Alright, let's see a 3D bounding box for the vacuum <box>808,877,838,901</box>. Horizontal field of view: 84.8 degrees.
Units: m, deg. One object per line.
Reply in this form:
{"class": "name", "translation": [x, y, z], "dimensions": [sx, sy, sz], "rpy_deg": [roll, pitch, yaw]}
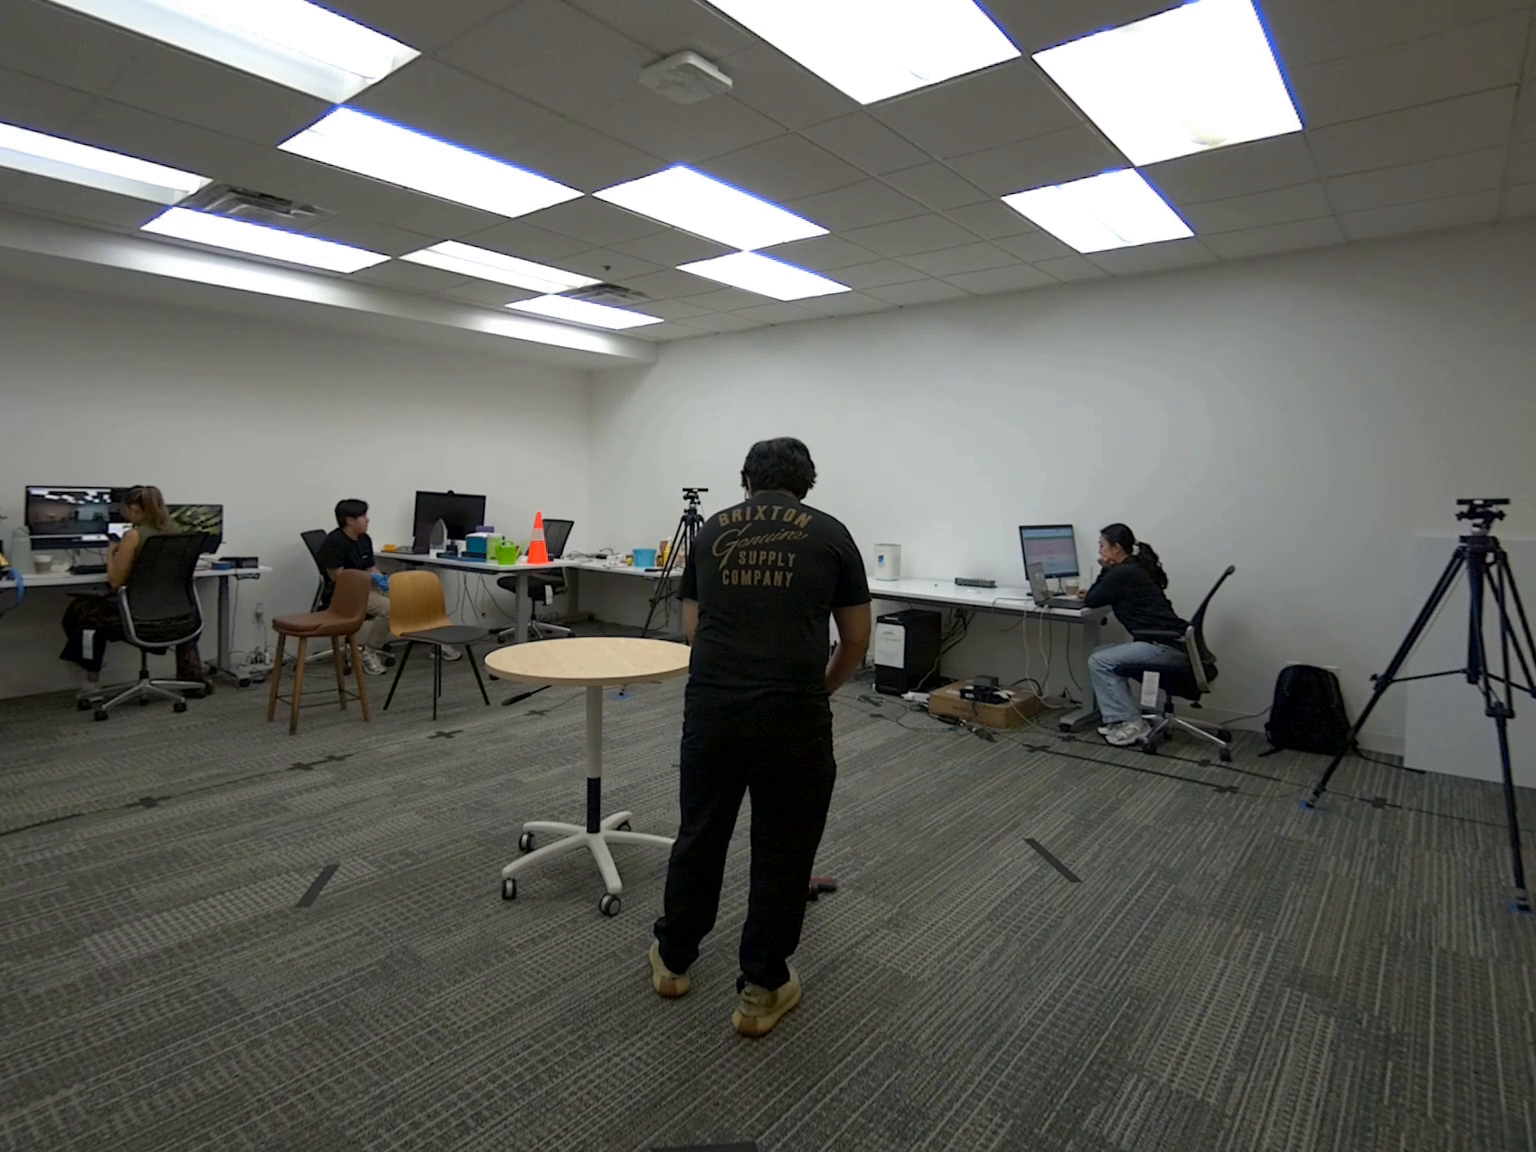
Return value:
{"class": "vacuum", "translation": [0.084, 0.683, 2.641], "dimensions": [0.254, 1.017, 0.147], "rpy_deg": [1, 40, 6]}
